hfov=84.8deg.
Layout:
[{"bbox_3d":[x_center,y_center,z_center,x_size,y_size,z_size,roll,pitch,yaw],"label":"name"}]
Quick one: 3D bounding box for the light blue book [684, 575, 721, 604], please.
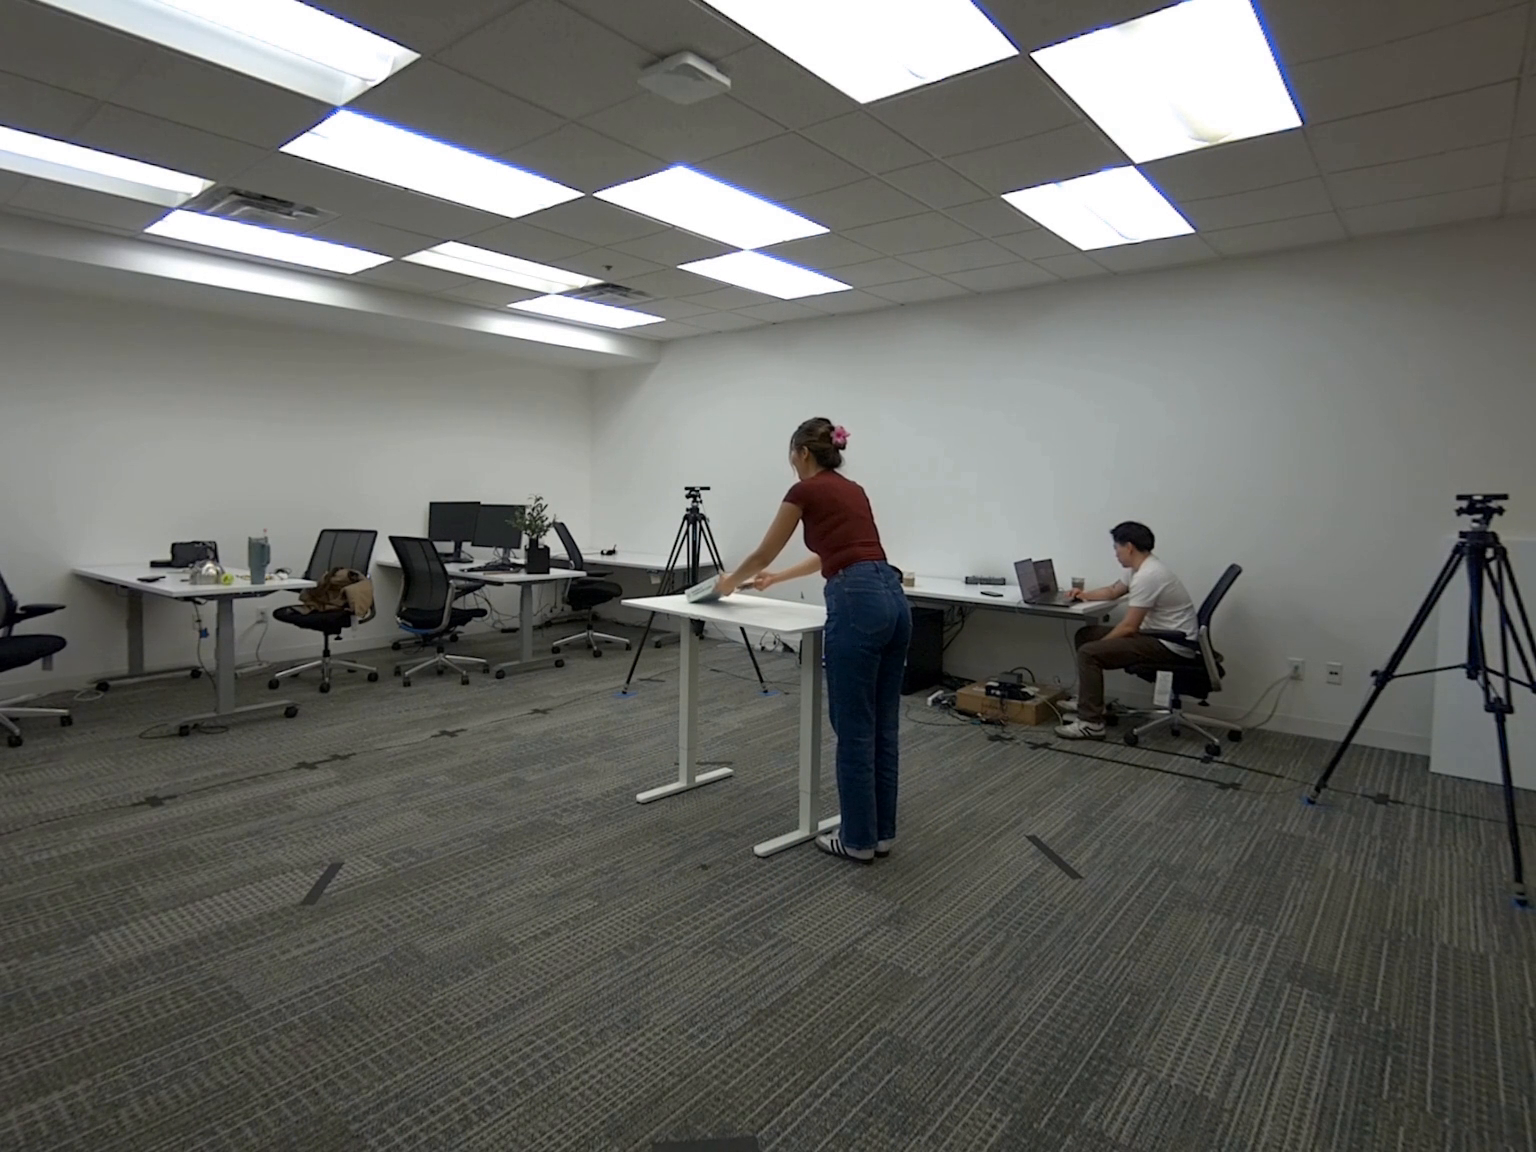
[{"bbox_3d":[-0.233,0.042,3.746,0.186,0.060,0.265,-7,-13,-45],"label":"light blue book"}]
